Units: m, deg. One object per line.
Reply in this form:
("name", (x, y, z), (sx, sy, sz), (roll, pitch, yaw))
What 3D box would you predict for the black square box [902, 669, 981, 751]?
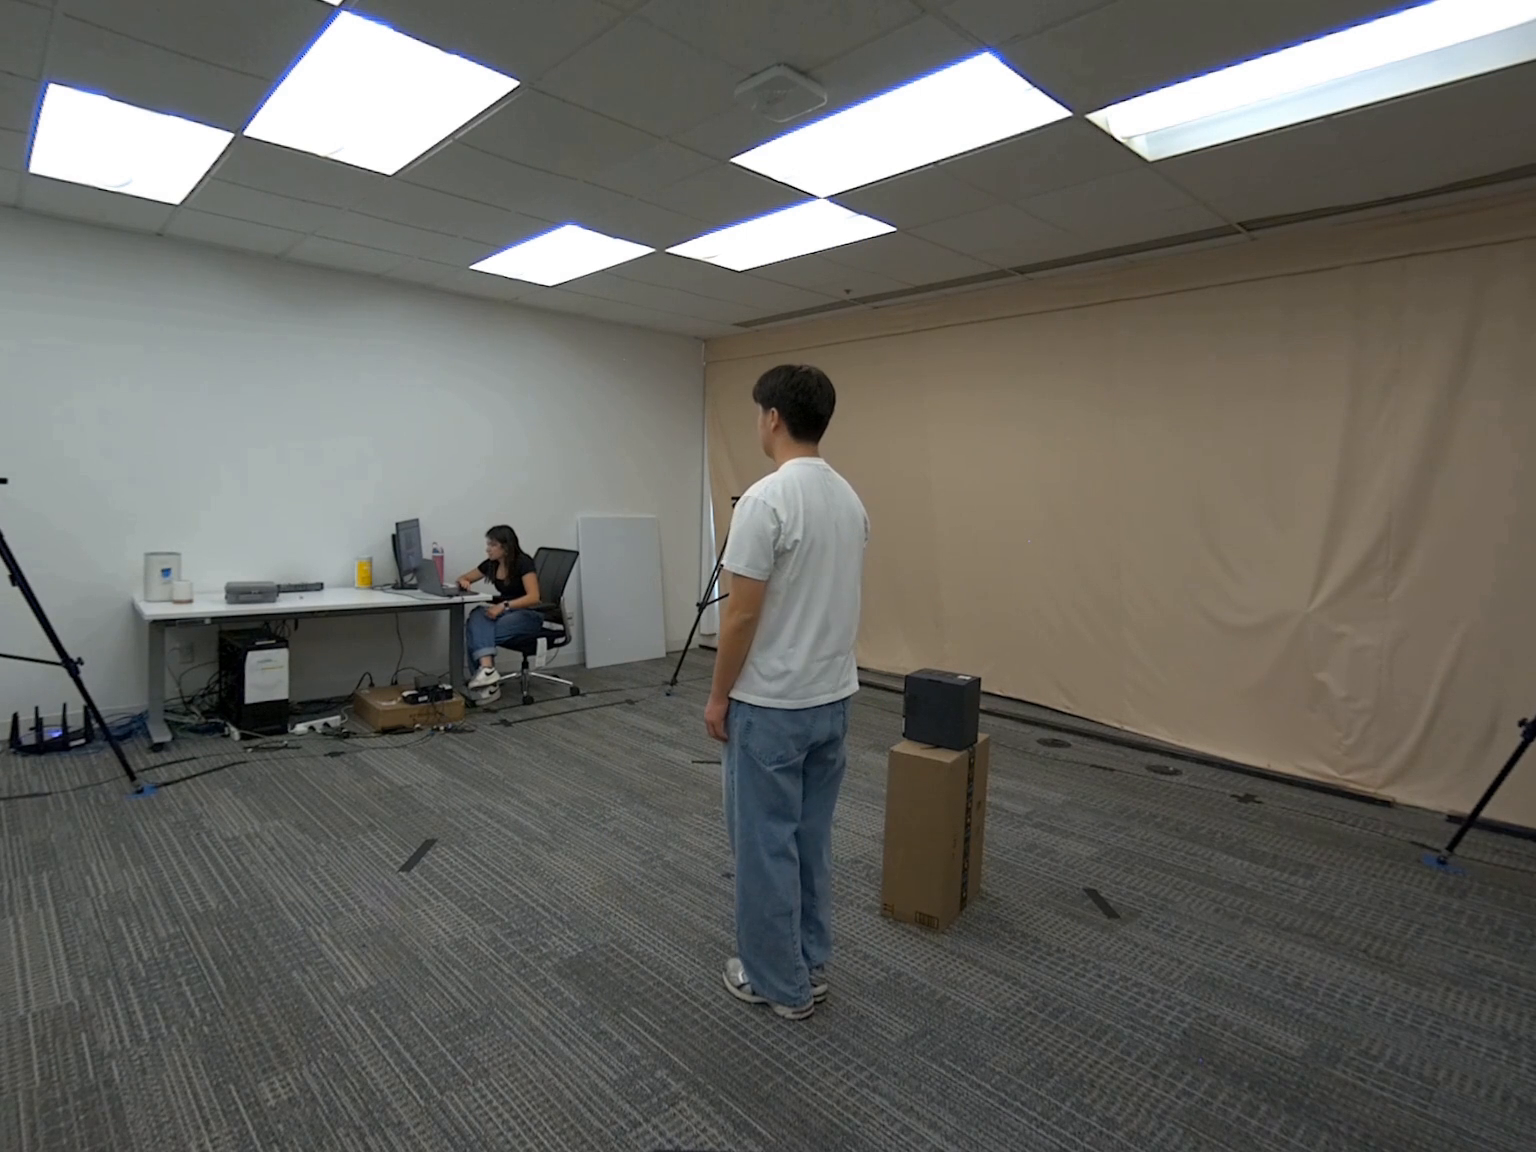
("black square box", (0.593, 0.458, 2.933), (0.222, 0.227, 0.152), (6, 6, 35))
